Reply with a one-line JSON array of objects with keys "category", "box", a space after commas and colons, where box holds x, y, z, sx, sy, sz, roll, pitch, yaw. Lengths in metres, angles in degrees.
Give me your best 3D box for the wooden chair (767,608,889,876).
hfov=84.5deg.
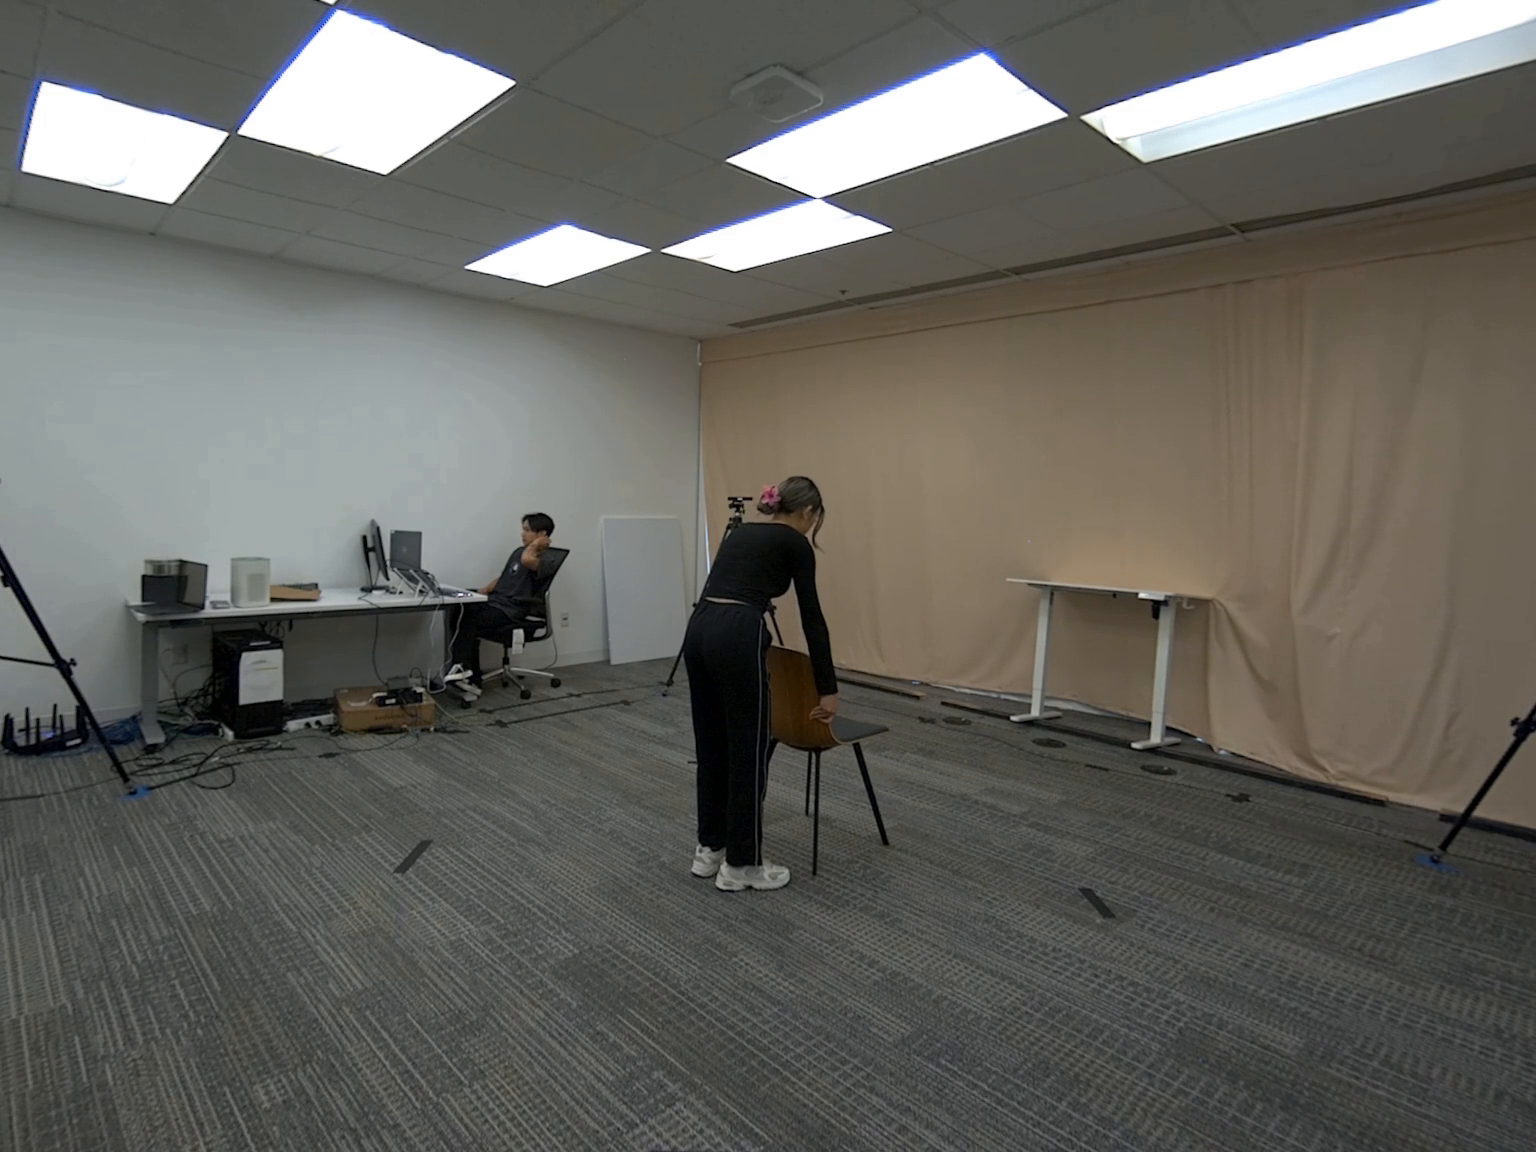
[{"category": "wooden chair", "box": [0.187, 0.657, 3.417, 0.512, 0.873, 0.490, -7, 8, -43]}]
